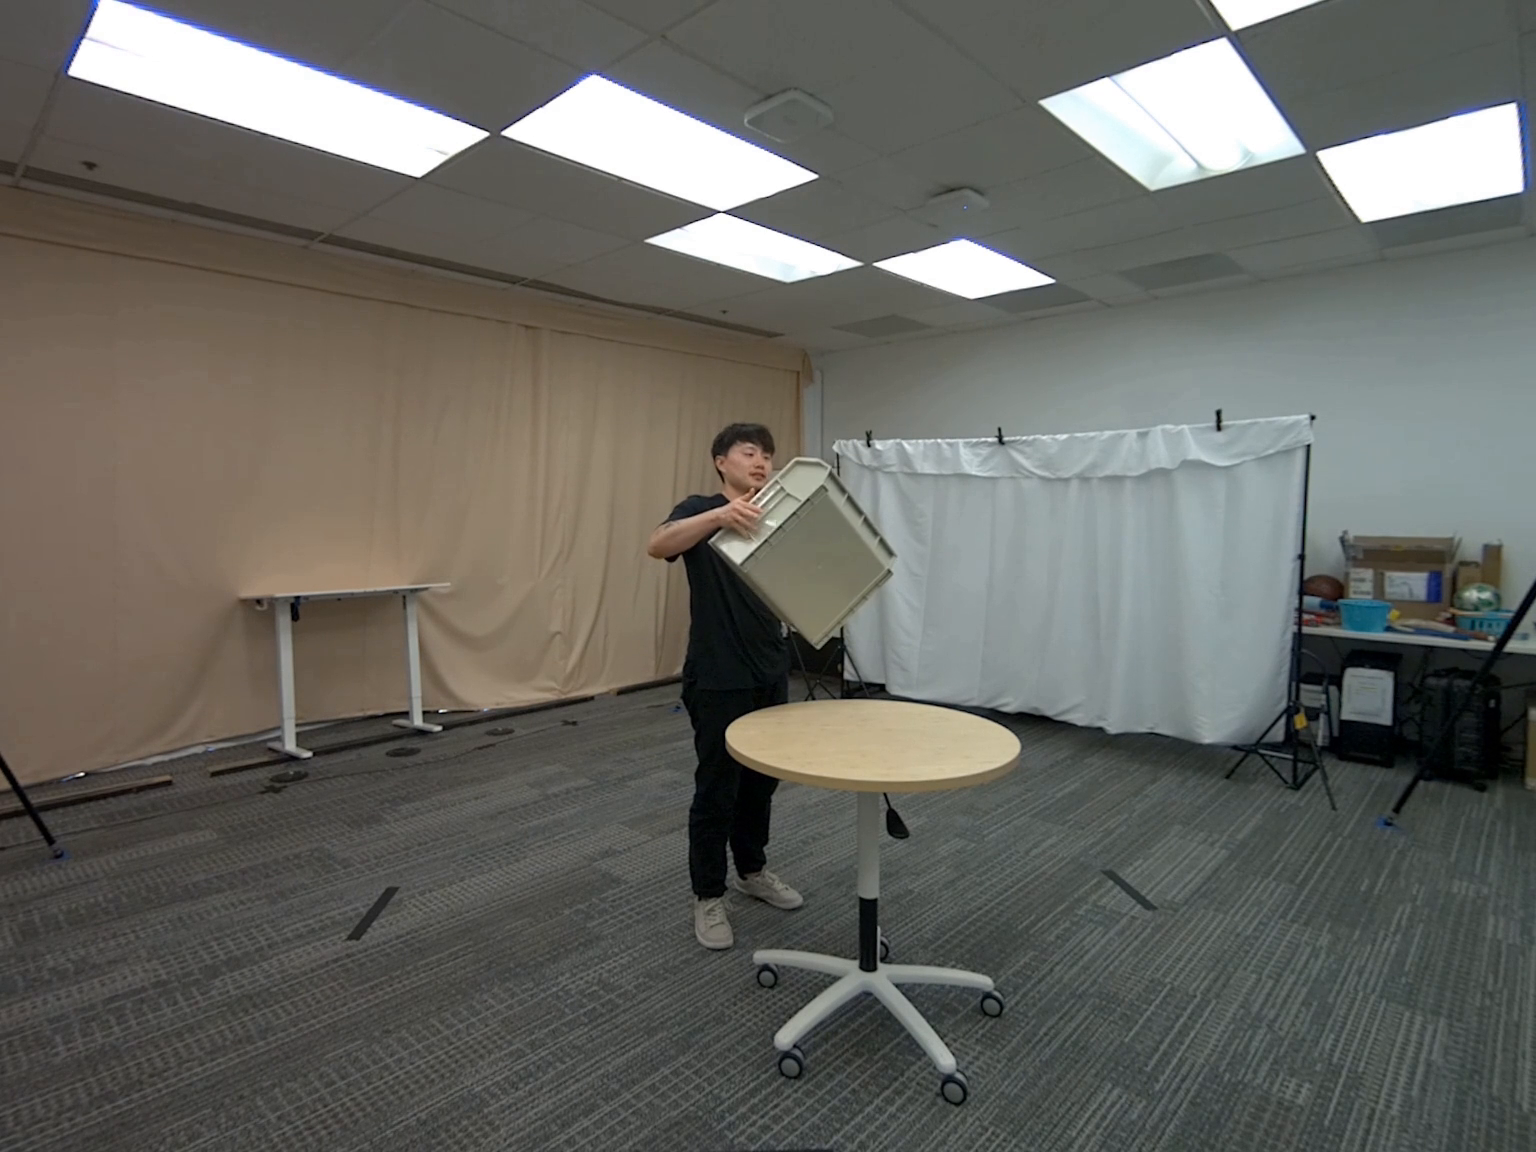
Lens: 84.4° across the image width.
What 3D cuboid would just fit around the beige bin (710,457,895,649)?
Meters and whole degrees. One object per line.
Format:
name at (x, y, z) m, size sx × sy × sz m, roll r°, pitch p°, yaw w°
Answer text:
beige bin at (0.125, -0.064, 2.404) m, size 0.408 × 0.377 × 0.195 m, roll 47°, pitch -3°, yaw -36°
